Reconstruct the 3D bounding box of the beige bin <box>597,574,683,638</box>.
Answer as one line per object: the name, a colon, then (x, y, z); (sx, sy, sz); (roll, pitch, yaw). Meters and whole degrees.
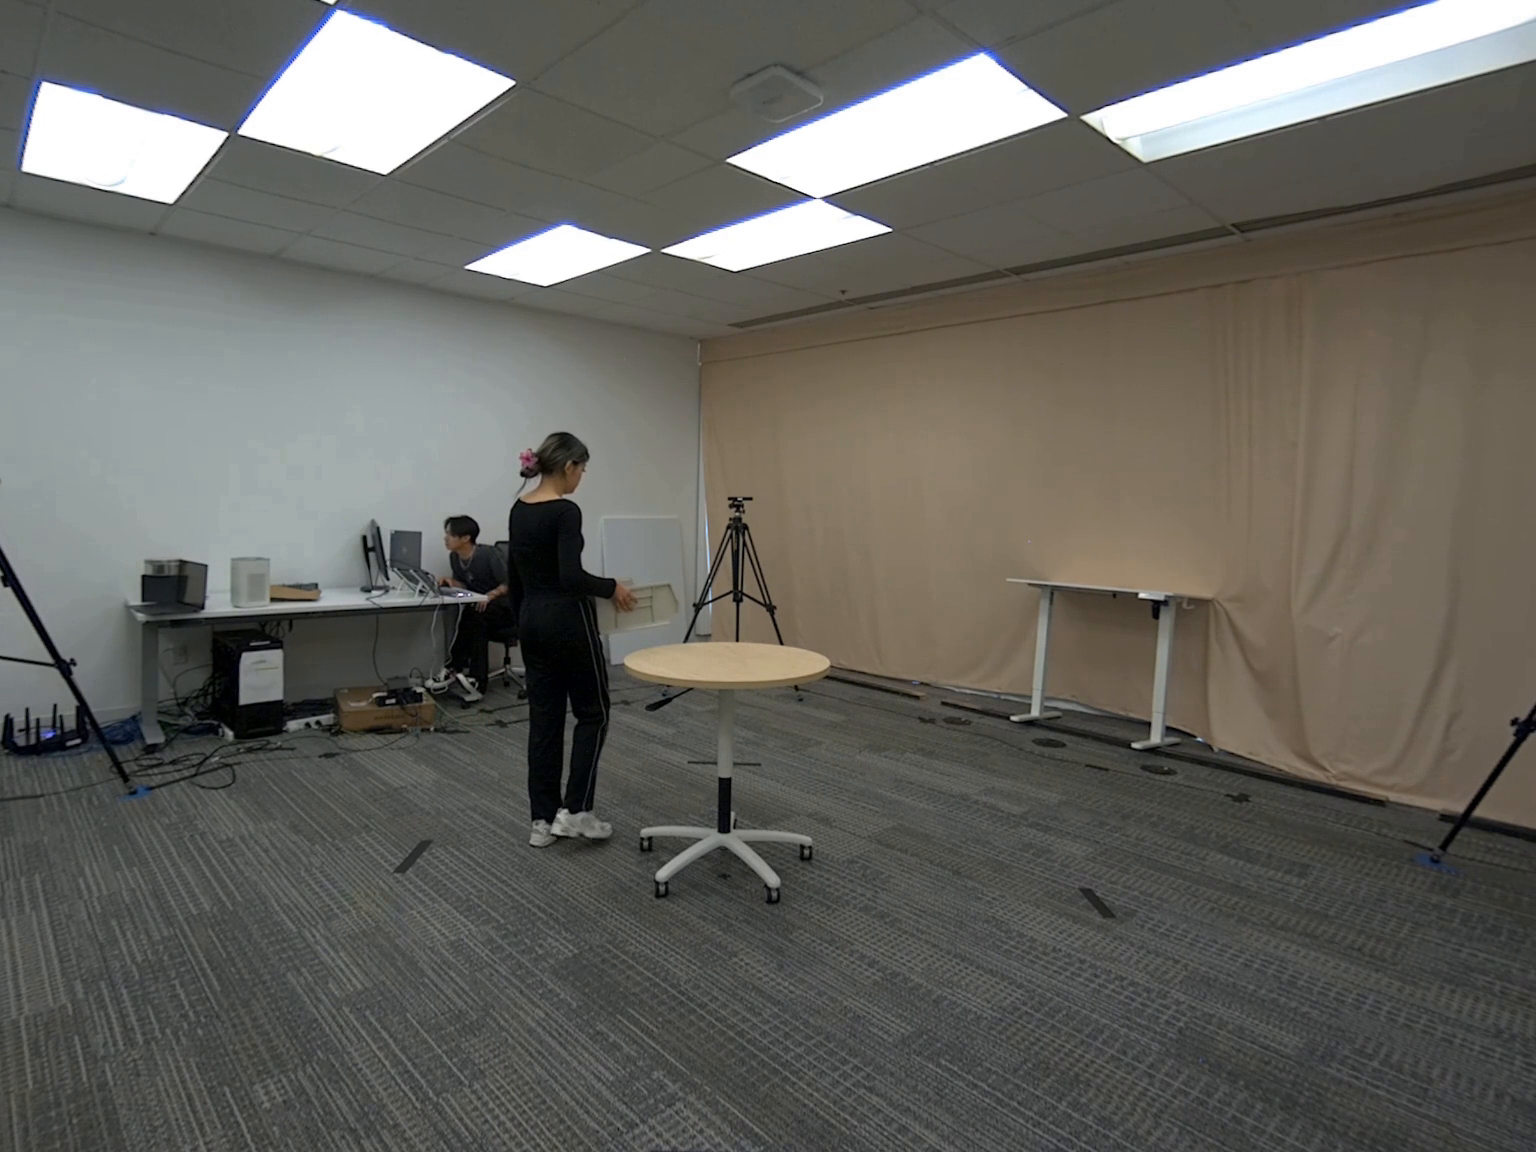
beige bin: (-0.637, 0.117, 3.614); (0.371, 0.188, 0.431); (-9, 6, -30)
